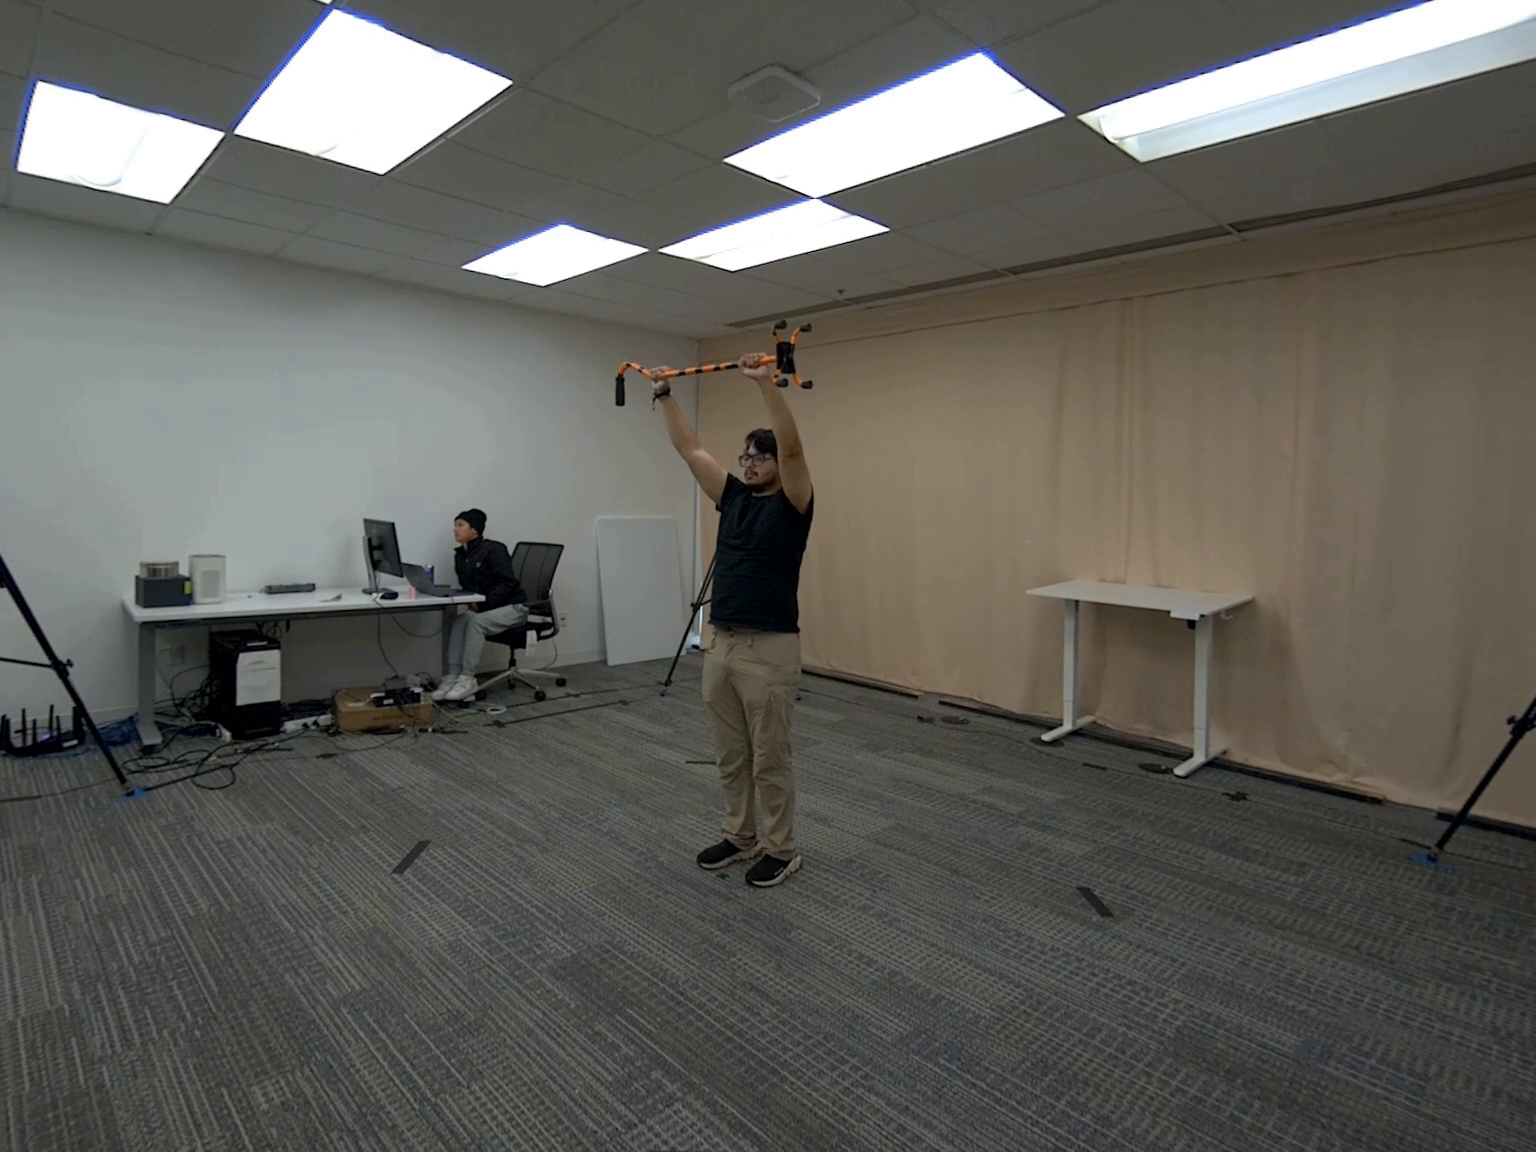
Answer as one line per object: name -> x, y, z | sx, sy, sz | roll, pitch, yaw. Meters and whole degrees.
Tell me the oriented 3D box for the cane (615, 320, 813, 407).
cane -> -0.250, -0.717, 2.925 | 0.931, 0.206, 0.148 | 5, 7, 43
